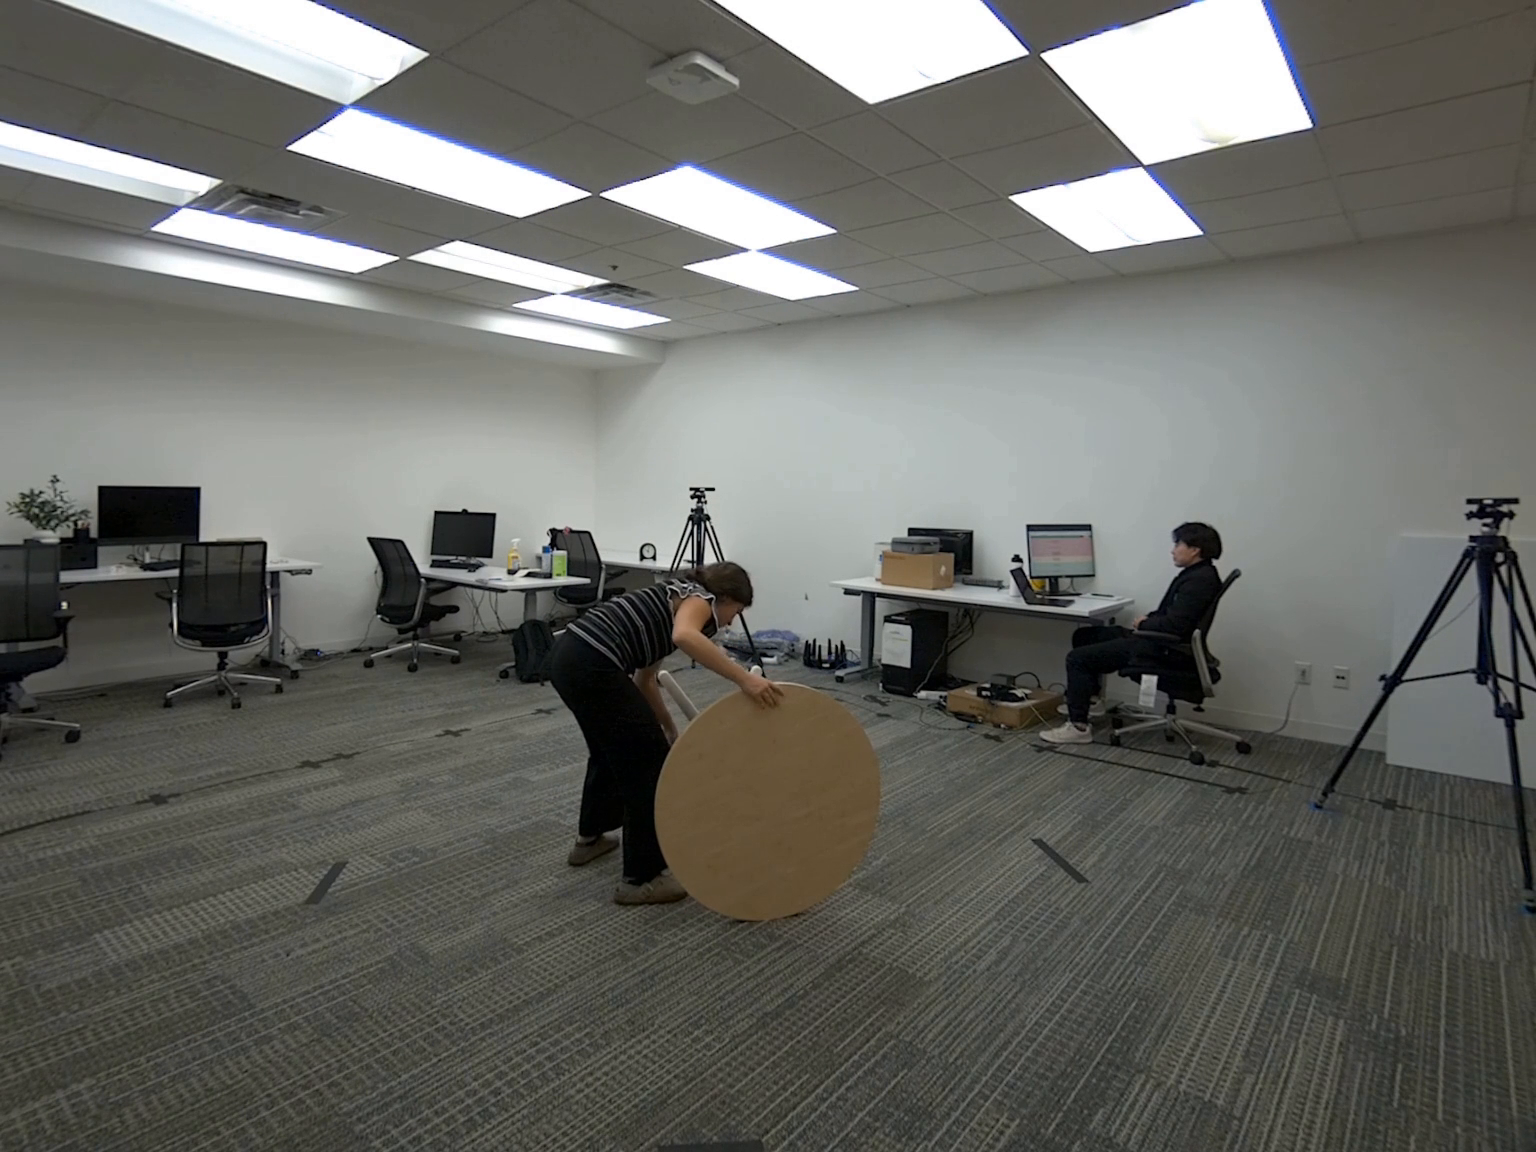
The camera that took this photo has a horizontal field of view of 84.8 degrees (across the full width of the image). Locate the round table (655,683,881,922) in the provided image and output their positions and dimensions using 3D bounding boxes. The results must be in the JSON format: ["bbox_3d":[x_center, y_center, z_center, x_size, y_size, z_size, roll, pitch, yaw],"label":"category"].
[{"bbox_3d":[-0.121,0.696,3.118,0.750,0.762,0.810,0,3,-18],"label":"round table"}]
